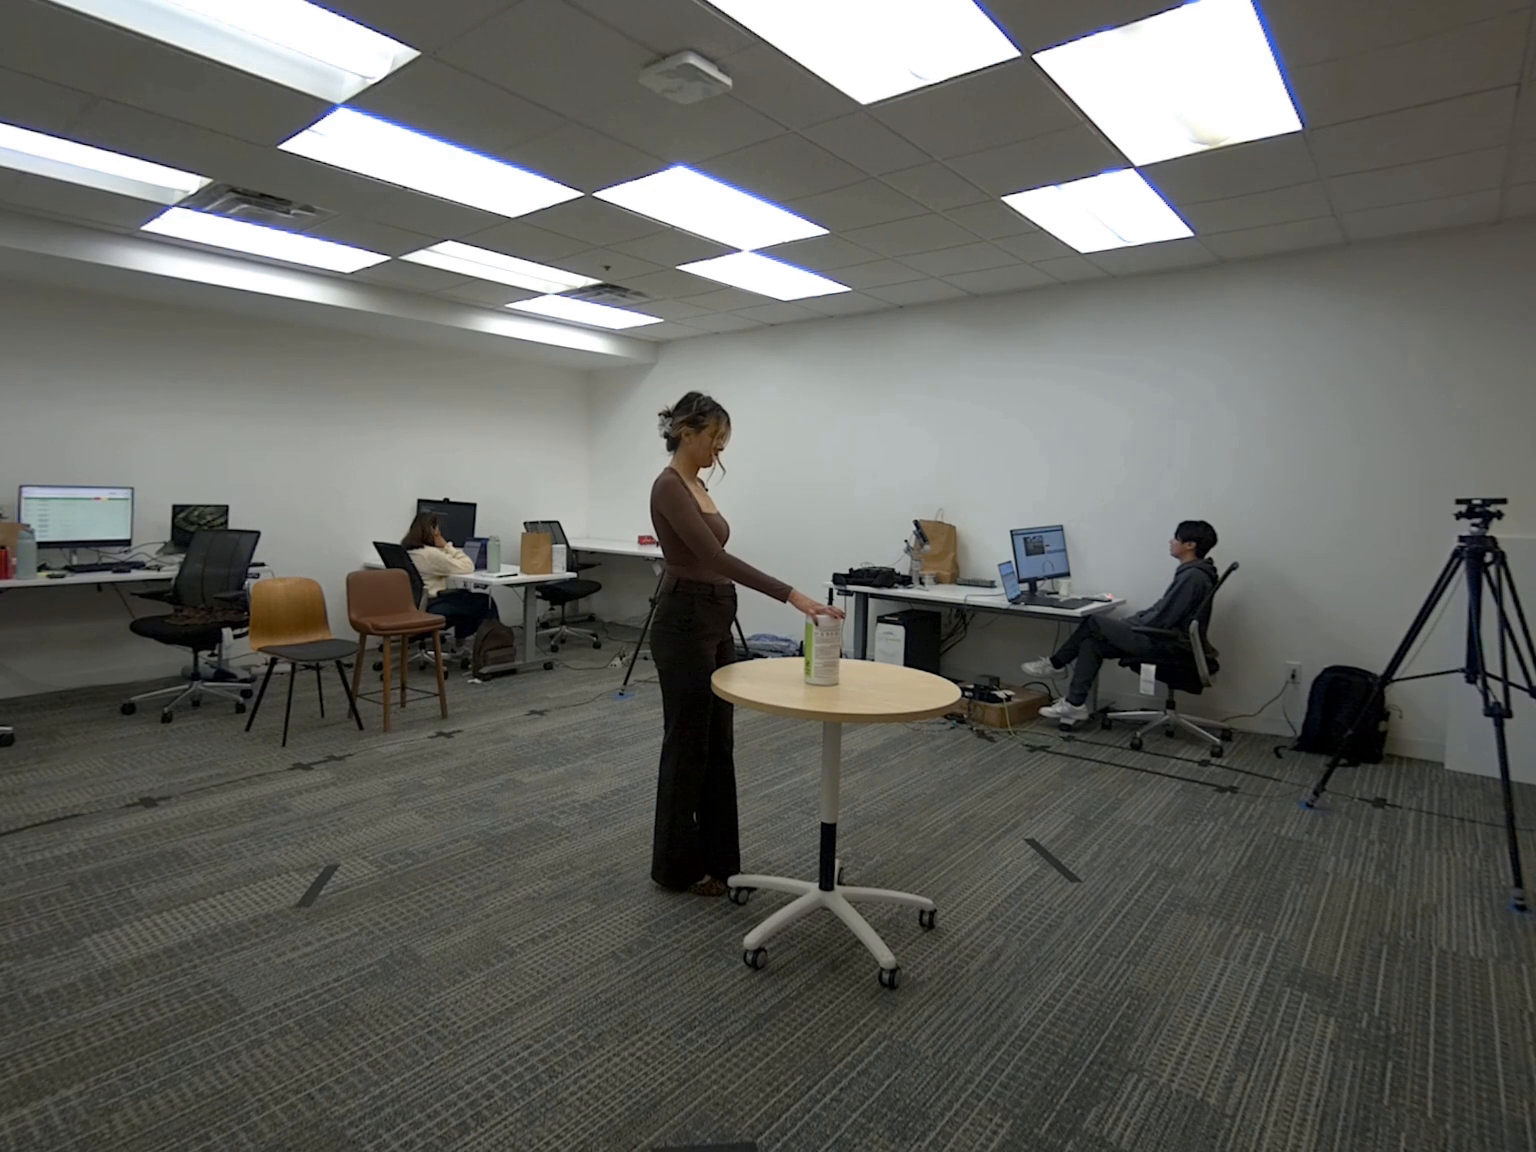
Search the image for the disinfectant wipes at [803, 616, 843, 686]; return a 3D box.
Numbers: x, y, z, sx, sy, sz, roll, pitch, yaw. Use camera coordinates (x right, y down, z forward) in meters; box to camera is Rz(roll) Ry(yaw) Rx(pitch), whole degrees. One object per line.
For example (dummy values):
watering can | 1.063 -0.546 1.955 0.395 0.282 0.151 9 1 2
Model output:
disinfectant wipes | 0.165 0.220 2.629 0.118 0.217 0.118 -1 3 -2
